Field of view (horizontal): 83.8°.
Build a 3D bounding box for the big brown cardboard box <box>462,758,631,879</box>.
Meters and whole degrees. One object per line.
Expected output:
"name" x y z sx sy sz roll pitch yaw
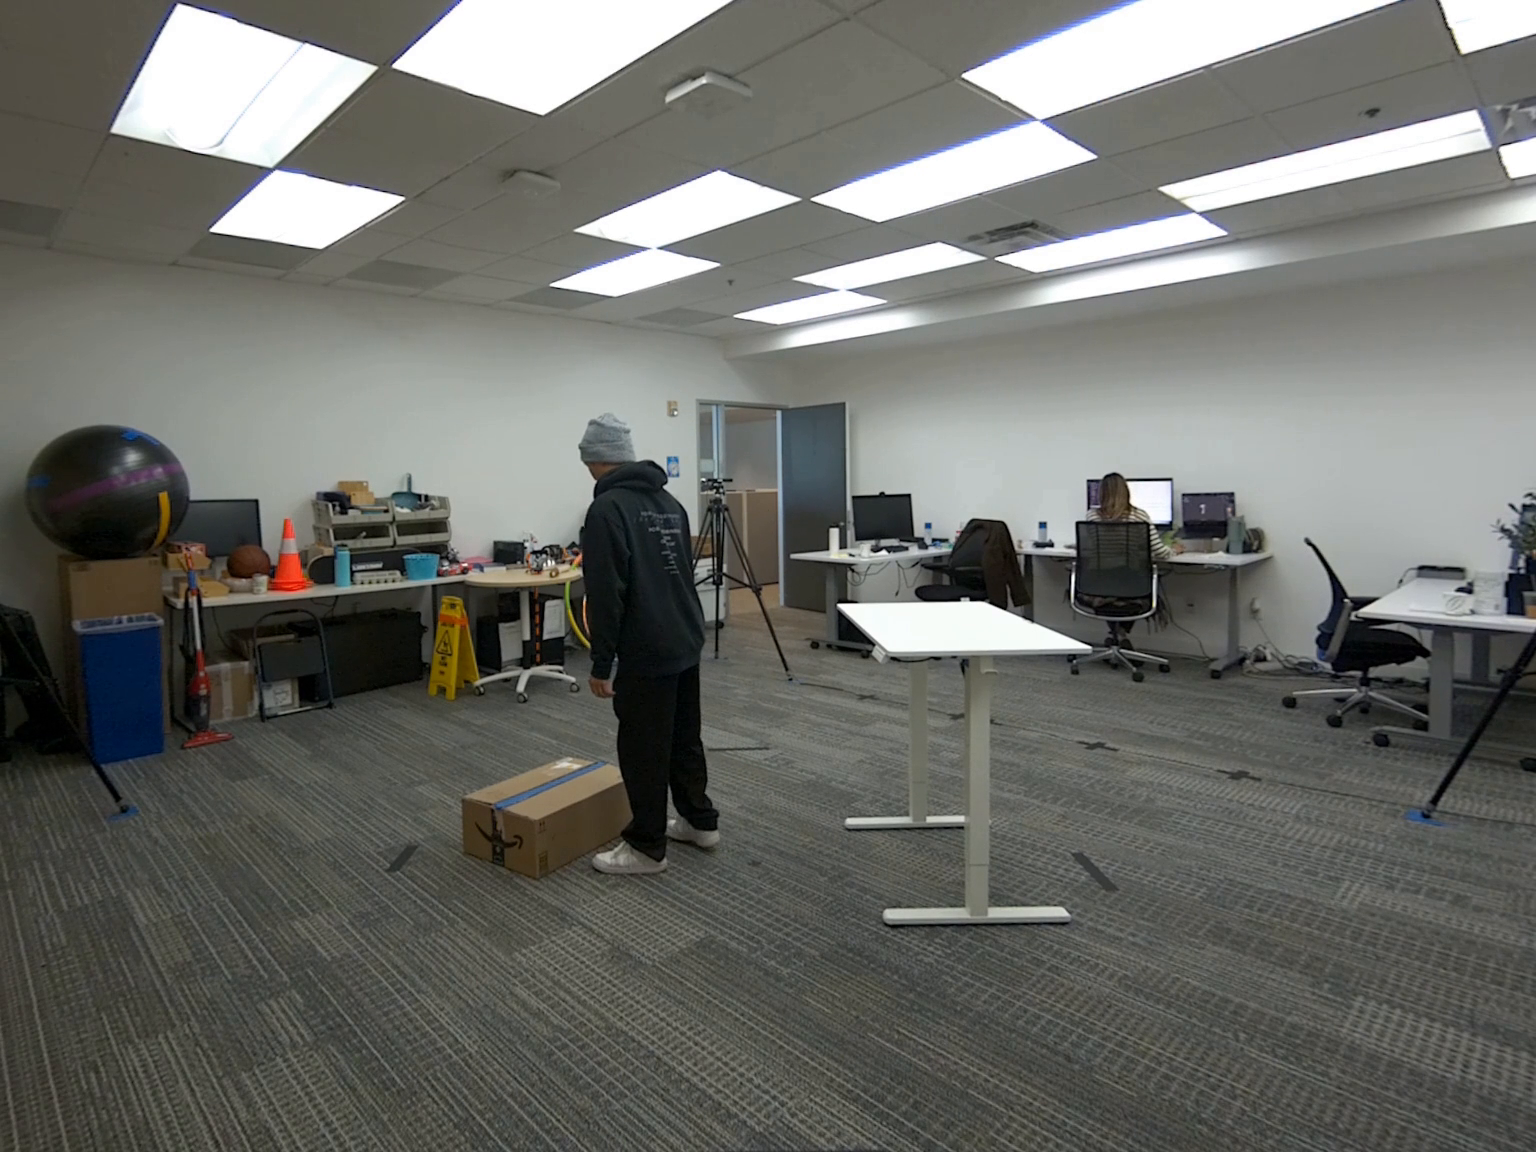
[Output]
"big brown cardboard box" -0.834 0.920 3.353 0.429 0.232 0.576 2 7 33
